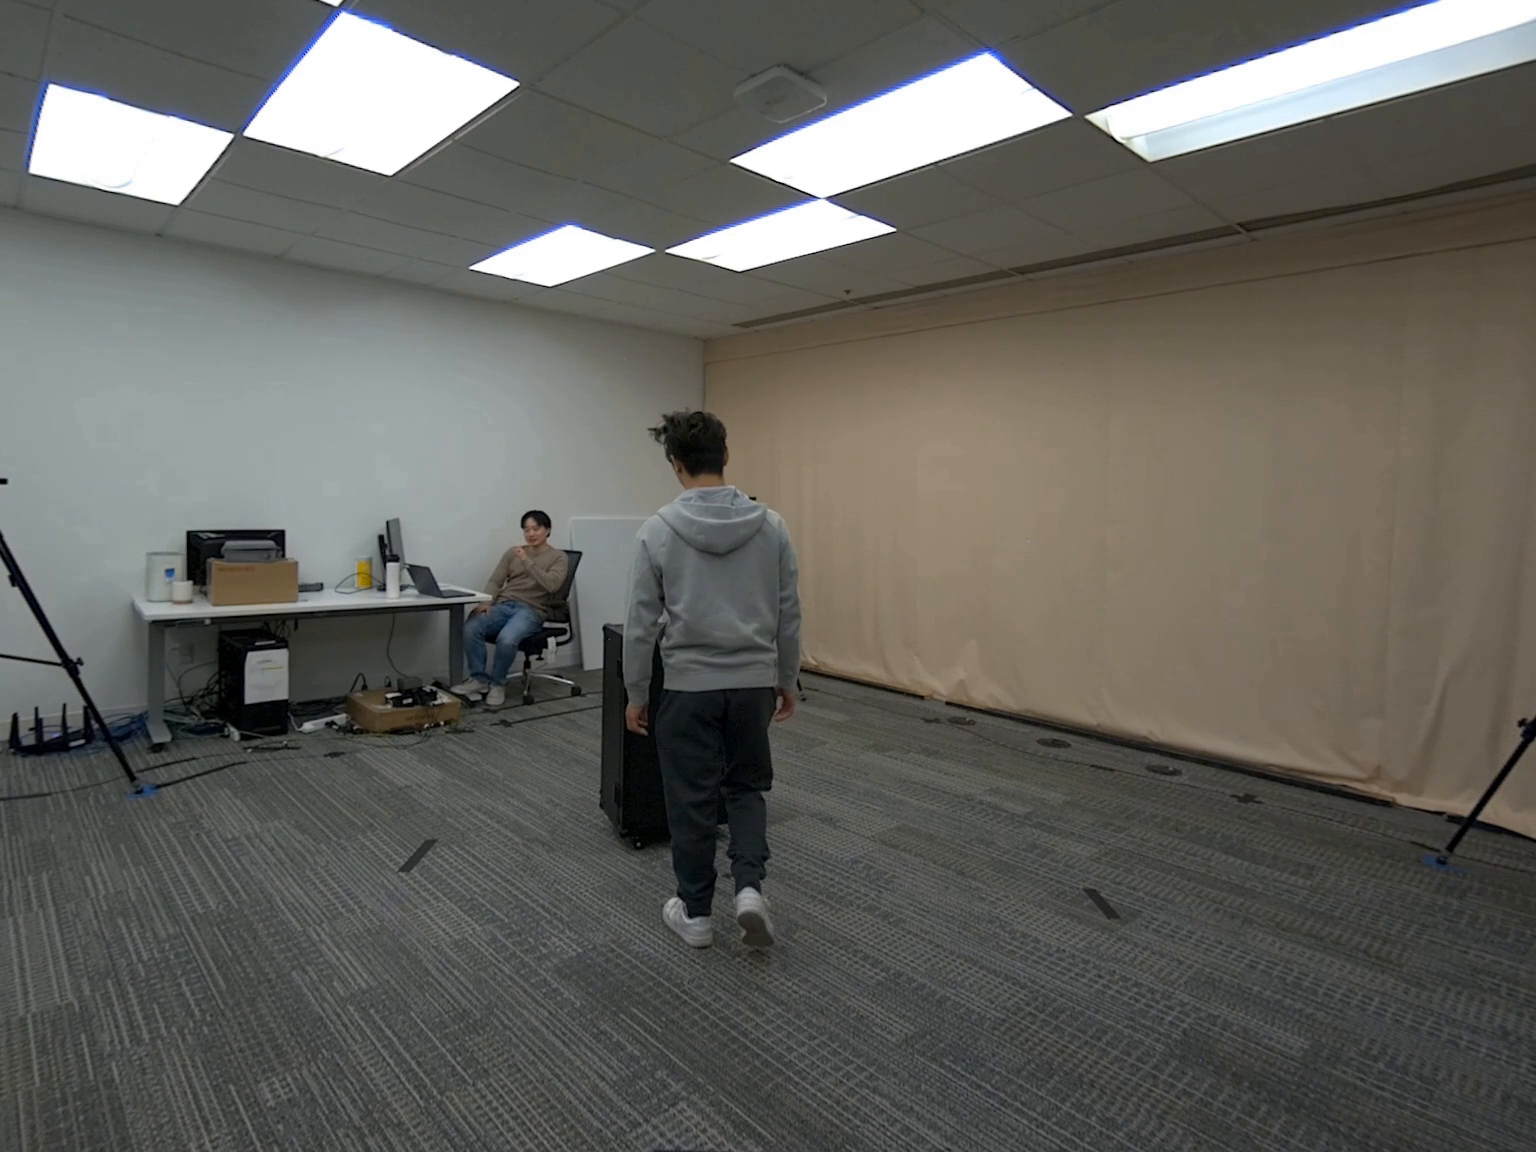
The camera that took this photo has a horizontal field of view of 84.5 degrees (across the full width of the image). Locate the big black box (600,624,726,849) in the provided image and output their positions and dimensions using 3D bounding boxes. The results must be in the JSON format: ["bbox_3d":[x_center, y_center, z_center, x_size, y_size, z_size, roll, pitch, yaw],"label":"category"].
[{"bbox_3d":[-0.428,0.644,3.494,0.512,0.860,0.404,0,3,-24],"label":"big black box"}]
